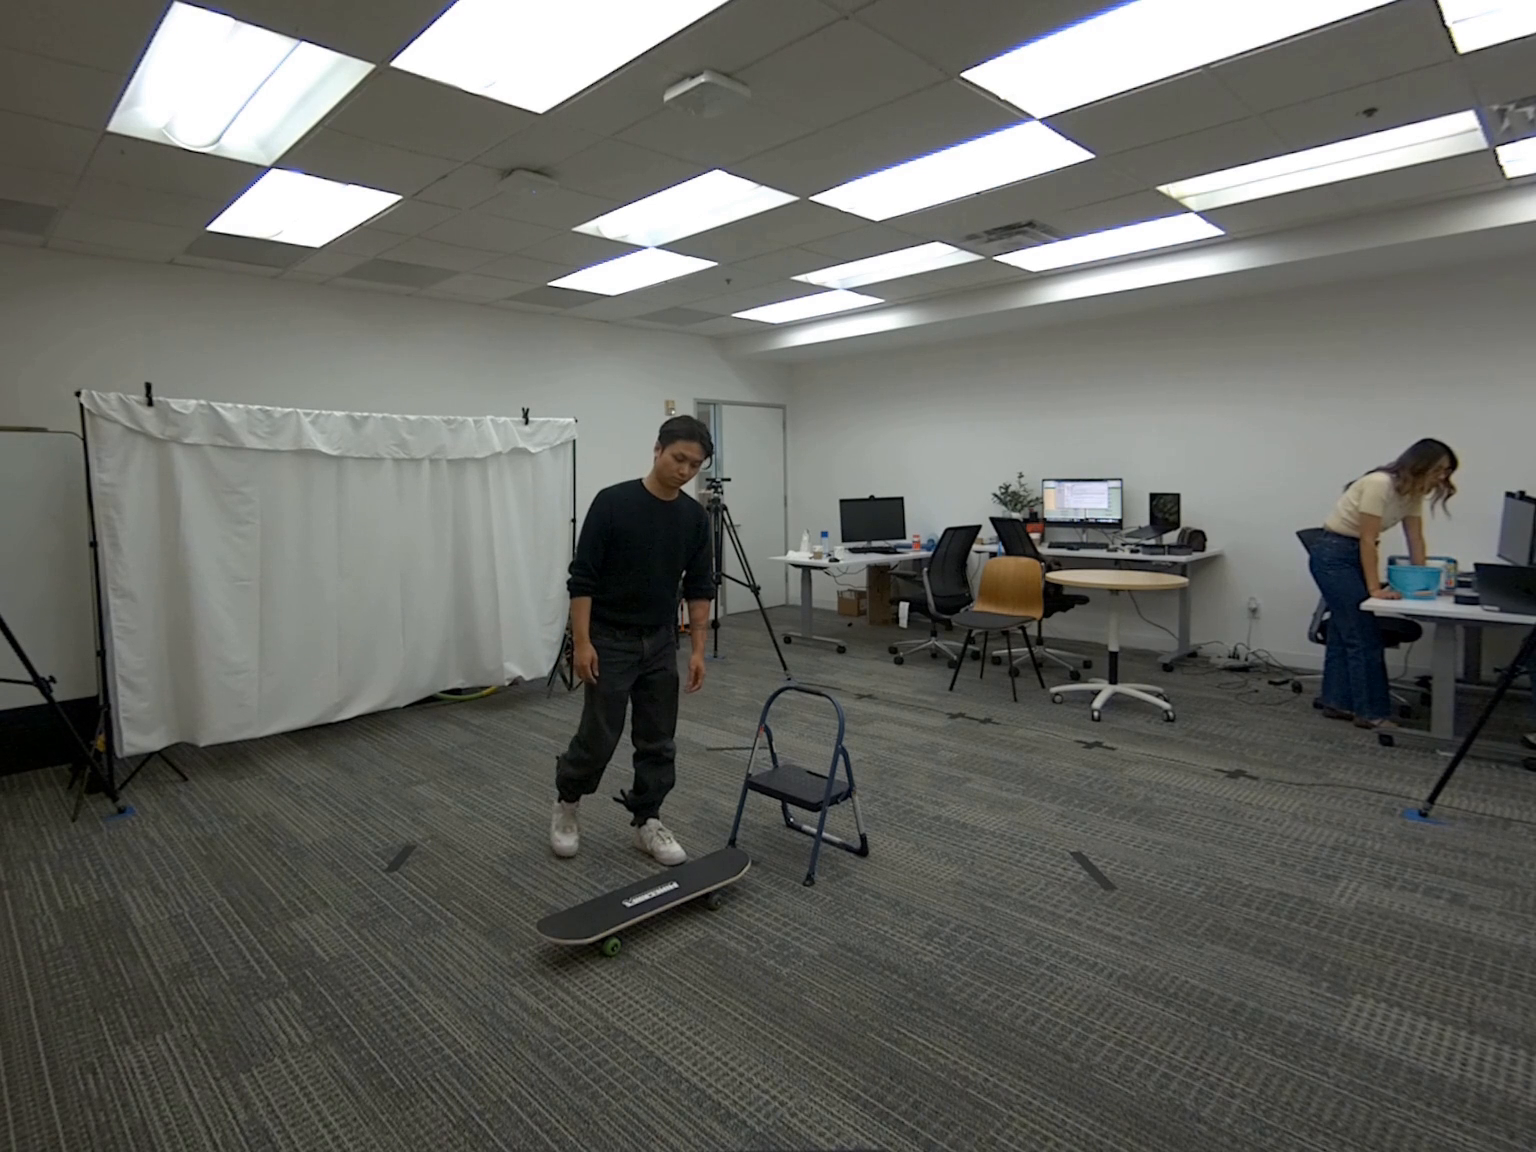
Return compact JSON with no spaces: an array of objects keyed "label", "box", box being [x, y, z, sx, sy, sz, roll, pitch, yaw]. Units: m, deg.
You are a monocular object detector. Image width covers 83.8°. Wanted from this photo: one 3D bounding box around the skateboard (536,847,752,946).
[{"label":"skateboard","box":[-0.370,1.043,2.705,0.765,0.110,0.199,-7,9,-41]}]
